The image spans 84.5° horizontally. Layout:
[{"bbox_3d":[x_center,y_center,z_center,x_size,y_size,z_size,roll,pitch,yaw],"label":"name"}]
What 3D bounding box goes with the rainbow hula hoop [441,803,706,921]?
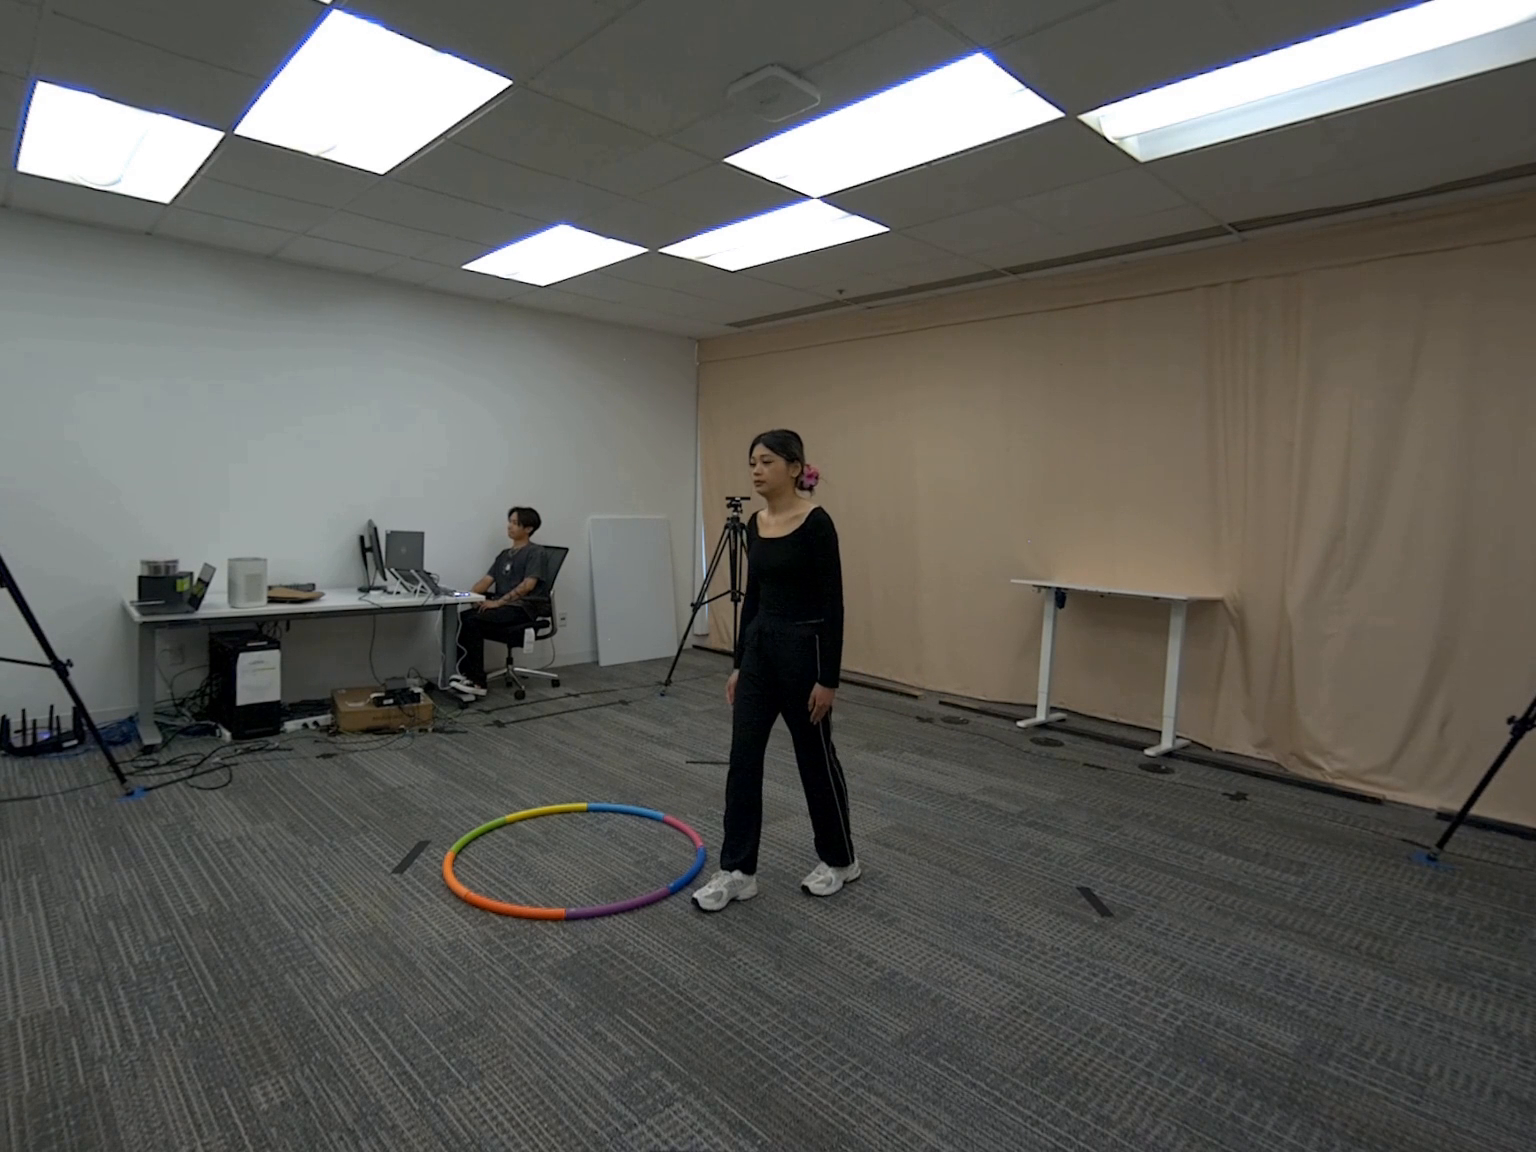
[{"bbox_3d":[-0.731,1.052,3.236,0.978,0.035,0.982,2,5,-1],"label":"rainbow hula hoop"}]
